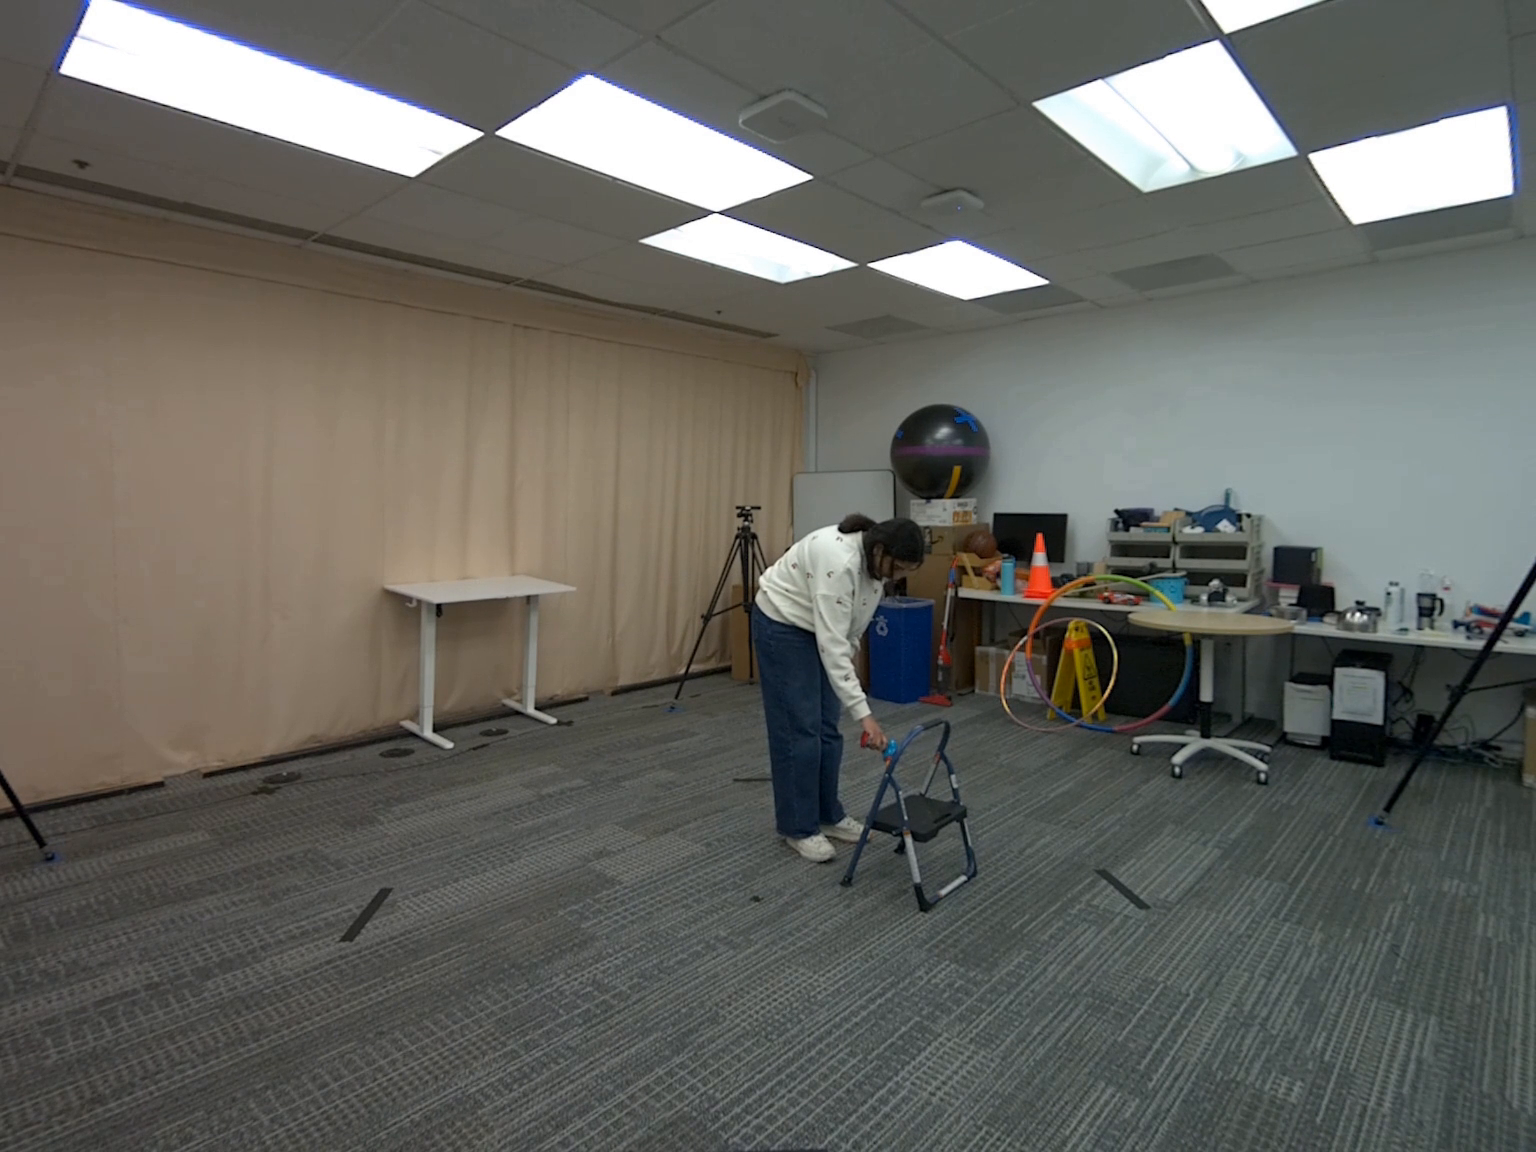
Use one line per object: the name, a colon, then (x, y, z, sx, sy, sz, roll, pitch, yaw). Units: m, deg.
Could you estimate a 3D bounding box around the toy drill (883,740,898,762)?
toy drill: (0.414, 0.636, 3.040, 0.145, 0.061, 0.171, 23, 35, -6)
